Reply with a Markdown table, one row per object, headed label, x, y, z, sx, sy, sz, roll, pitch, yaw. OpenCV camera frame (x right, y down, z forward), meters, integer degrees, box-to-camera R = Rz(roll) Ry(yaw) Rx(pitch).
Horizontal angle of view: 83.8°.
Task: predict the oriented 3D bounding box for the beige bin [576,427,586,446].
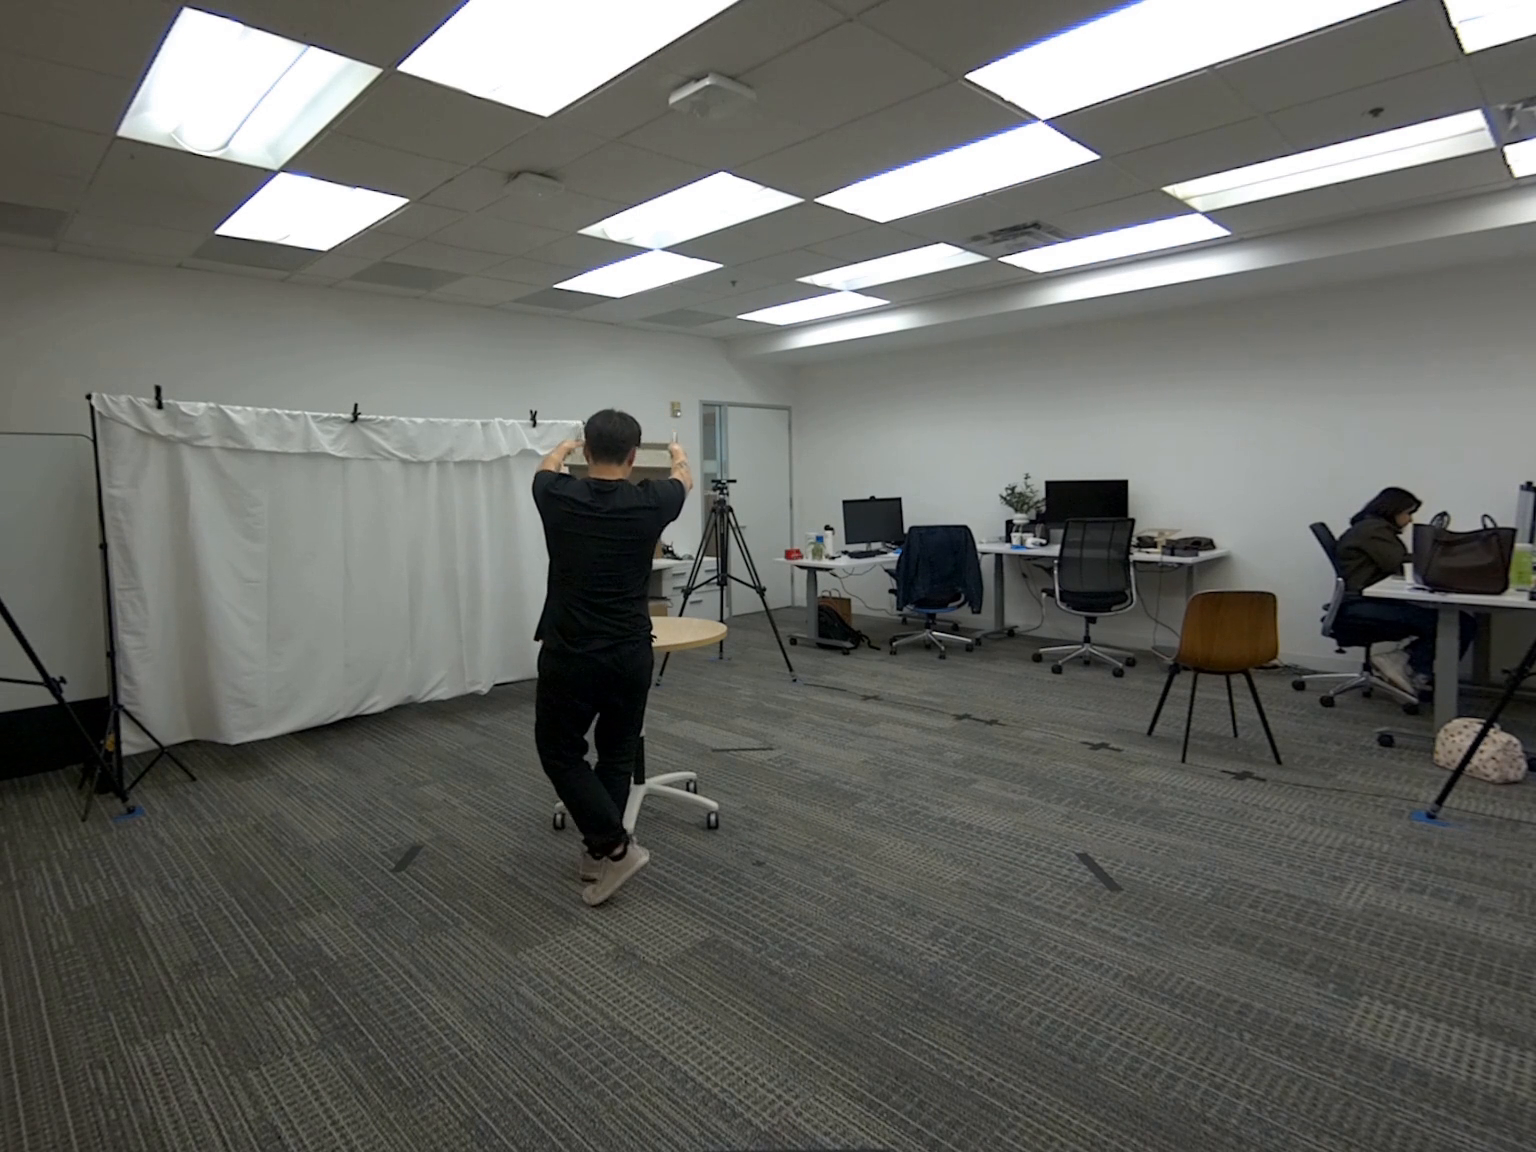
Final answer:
| label | x | y | z | sx | sy | sz | roll | pitch | yaw |
| --- | --- | --- | --- | --- | --- | --- | --- | --- | --- |
| beige bin | -0.582 | -0.447 | 3.482 | 0.423 | 0.184 | 0.387 | -3 | 36 | 1 |
